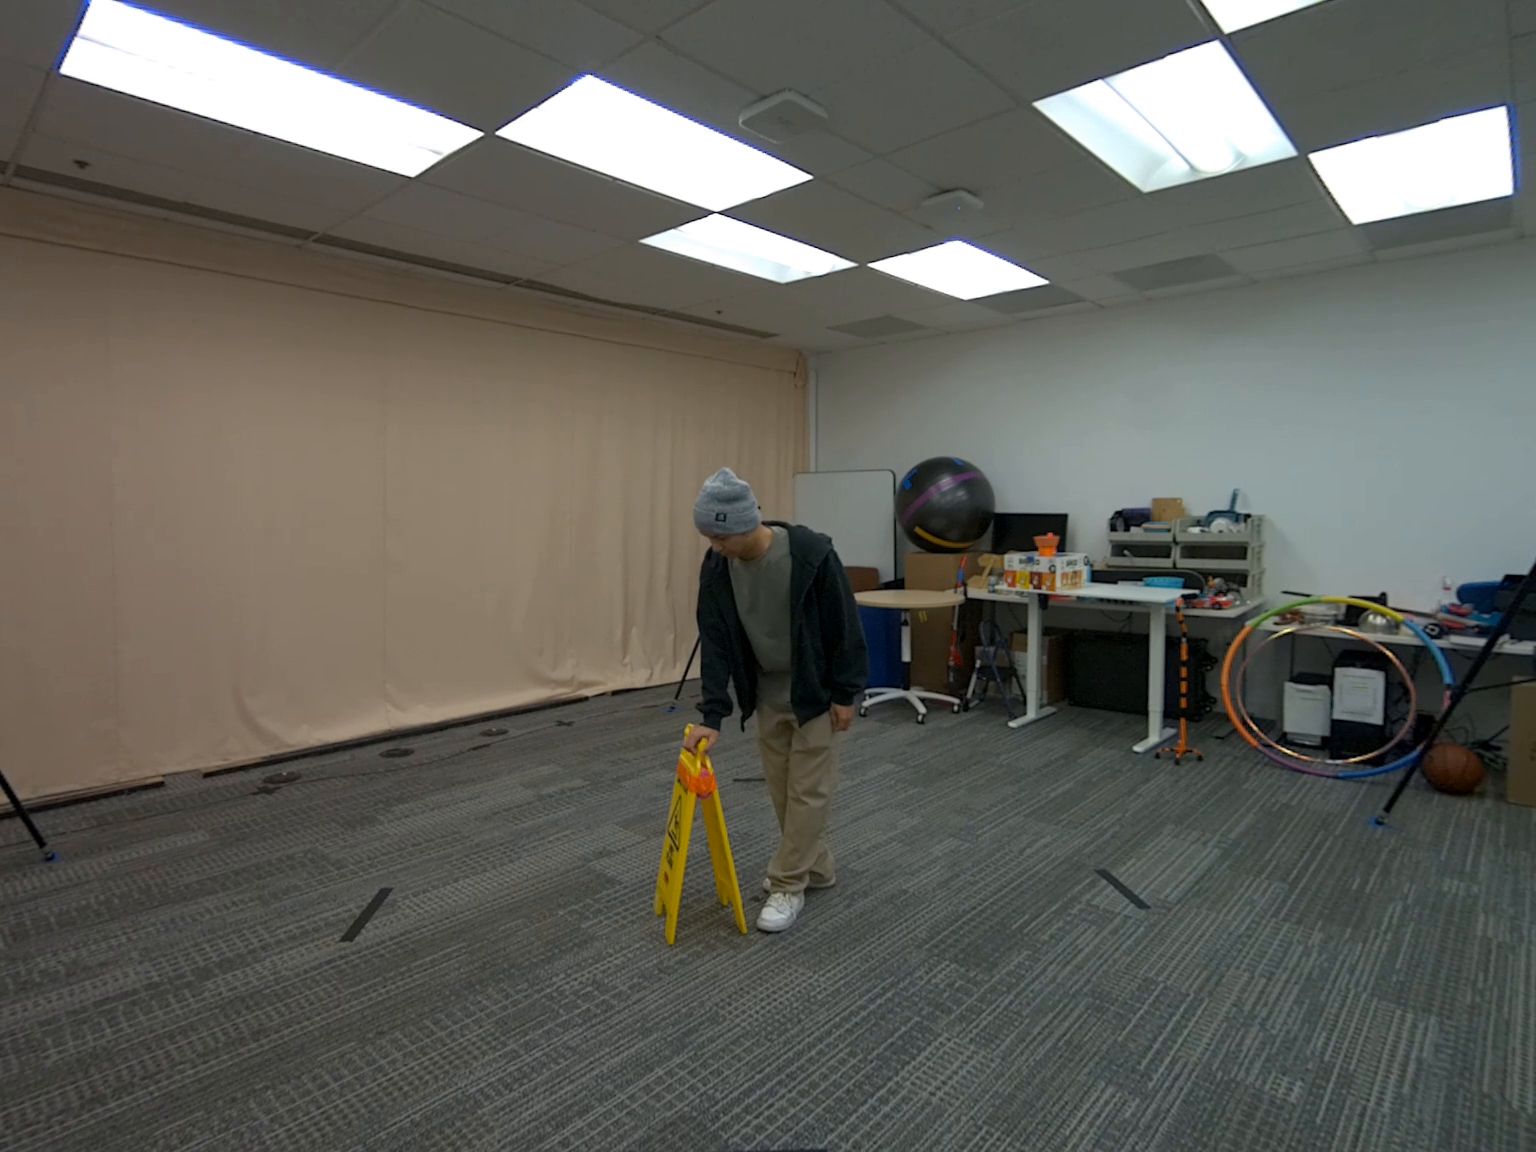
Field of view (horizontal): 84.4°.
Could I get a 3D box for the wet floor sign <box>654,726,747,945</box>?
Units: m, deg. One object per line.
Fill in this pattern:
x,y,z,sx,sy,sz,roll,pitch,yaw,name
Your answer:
-0.237,0.833,2.808,0.285,0.645,0.287,-2,3,-17,wet floor sign
